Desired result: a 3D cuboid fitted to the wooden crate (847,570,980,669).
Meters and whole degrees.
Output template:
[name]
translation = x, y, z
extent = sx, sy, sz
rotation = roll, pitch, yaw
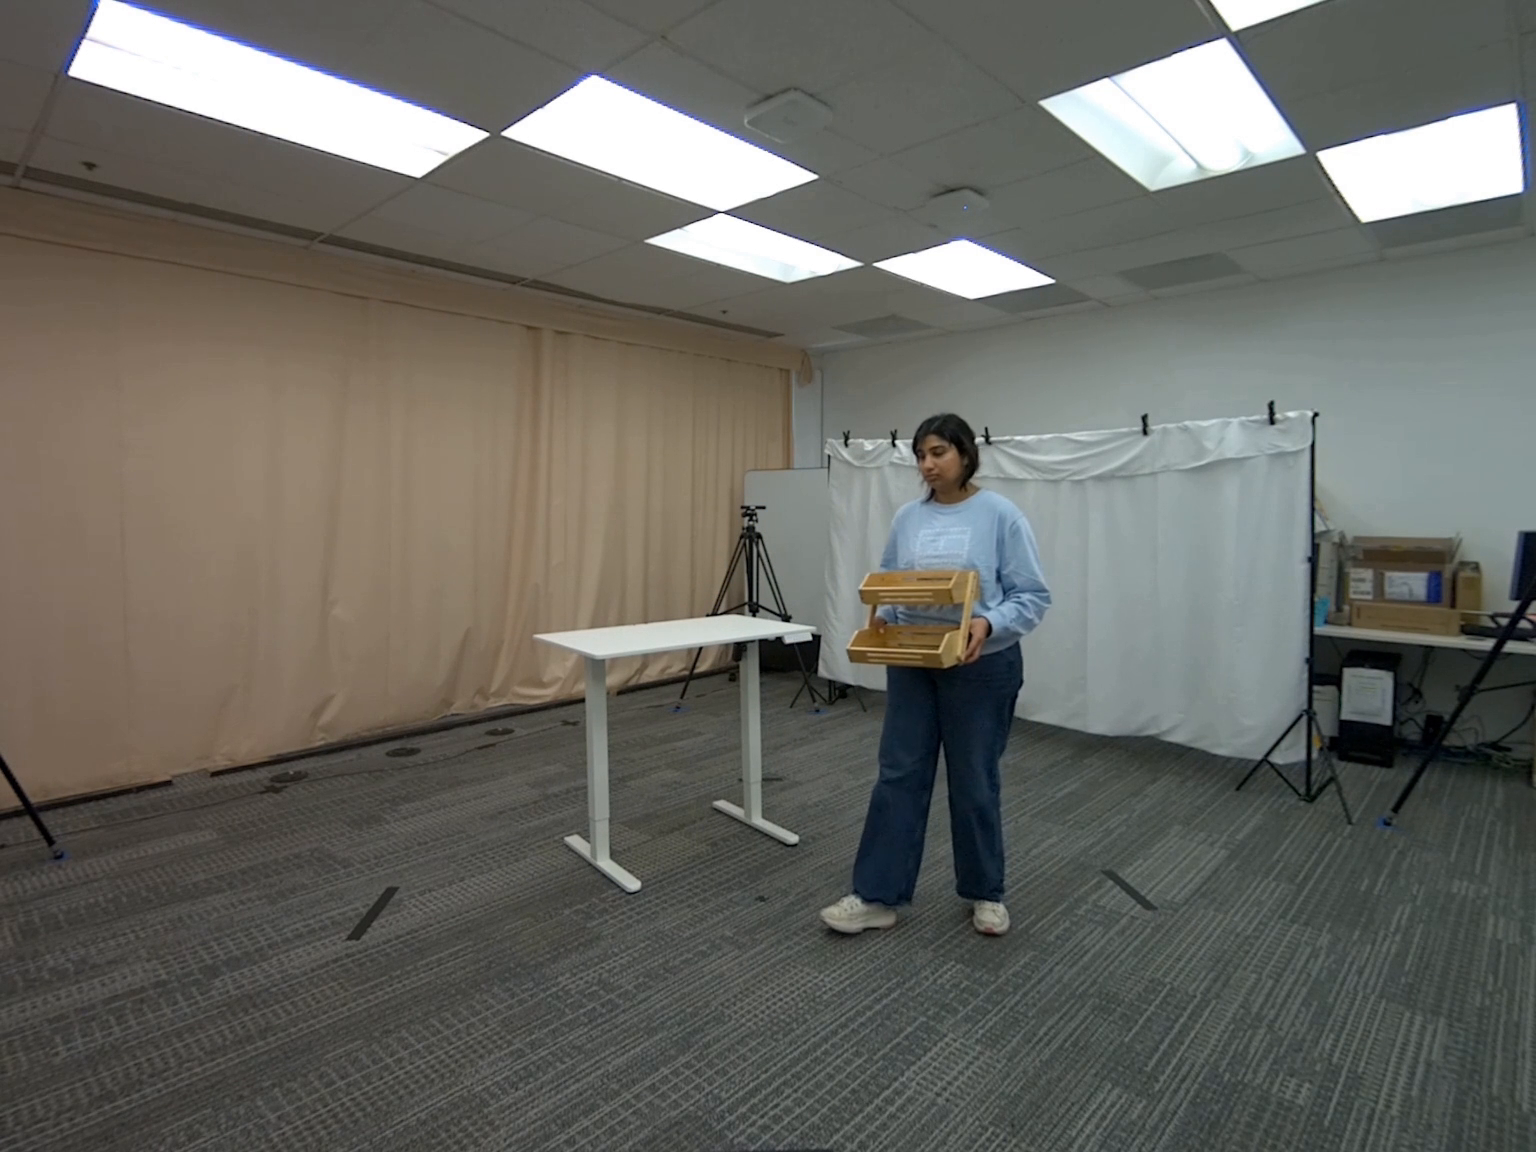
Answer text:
[wooden crate]
translation = 0.439, 0.118, 2.537
extent = 0.334, 0.273, 0.293
rotation = -1, 2, 38
